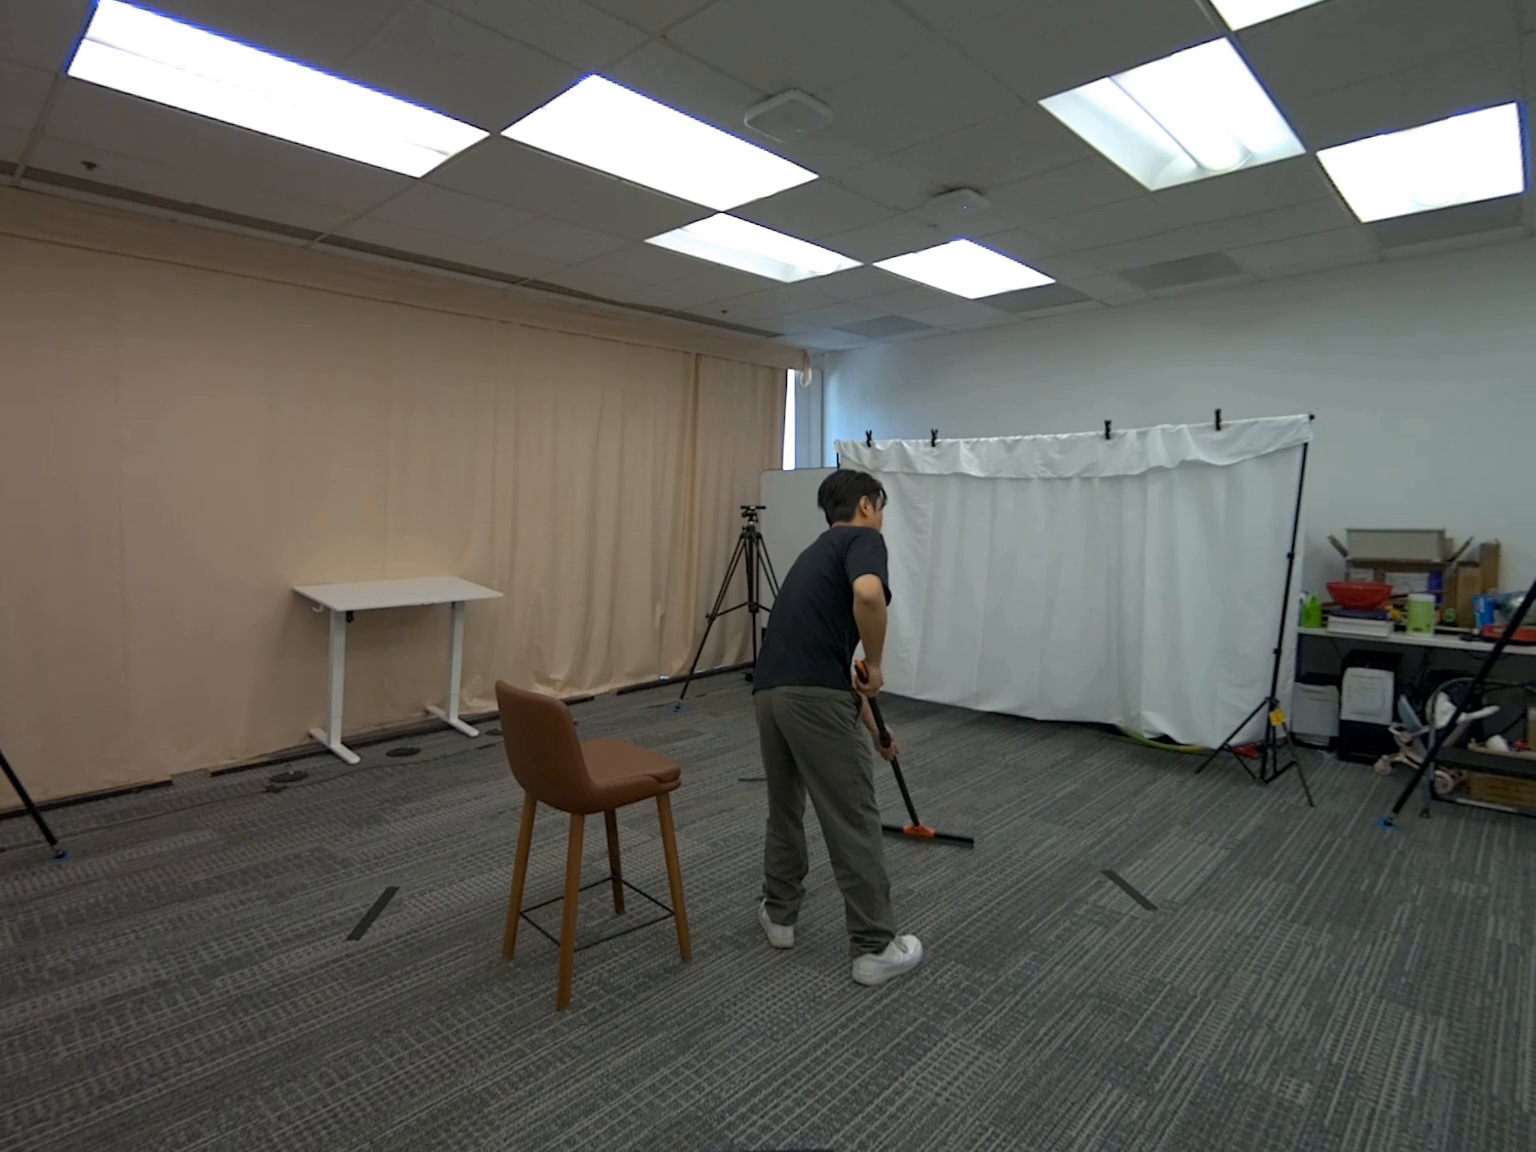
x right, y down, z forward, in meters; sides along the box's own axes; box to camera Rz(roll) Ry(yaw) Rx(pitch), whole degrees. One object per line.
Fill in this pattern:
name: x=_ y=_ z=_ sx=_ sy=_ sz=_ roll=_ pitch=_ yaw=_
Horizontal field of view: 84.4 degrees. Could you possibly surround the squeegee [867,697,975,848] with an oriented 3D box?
squeegee: x=0.427 y=0.656 z=2.912 sx=0.447 sy=0.053 sz=1.491 roll=2 pitch=-32 yaw=20
